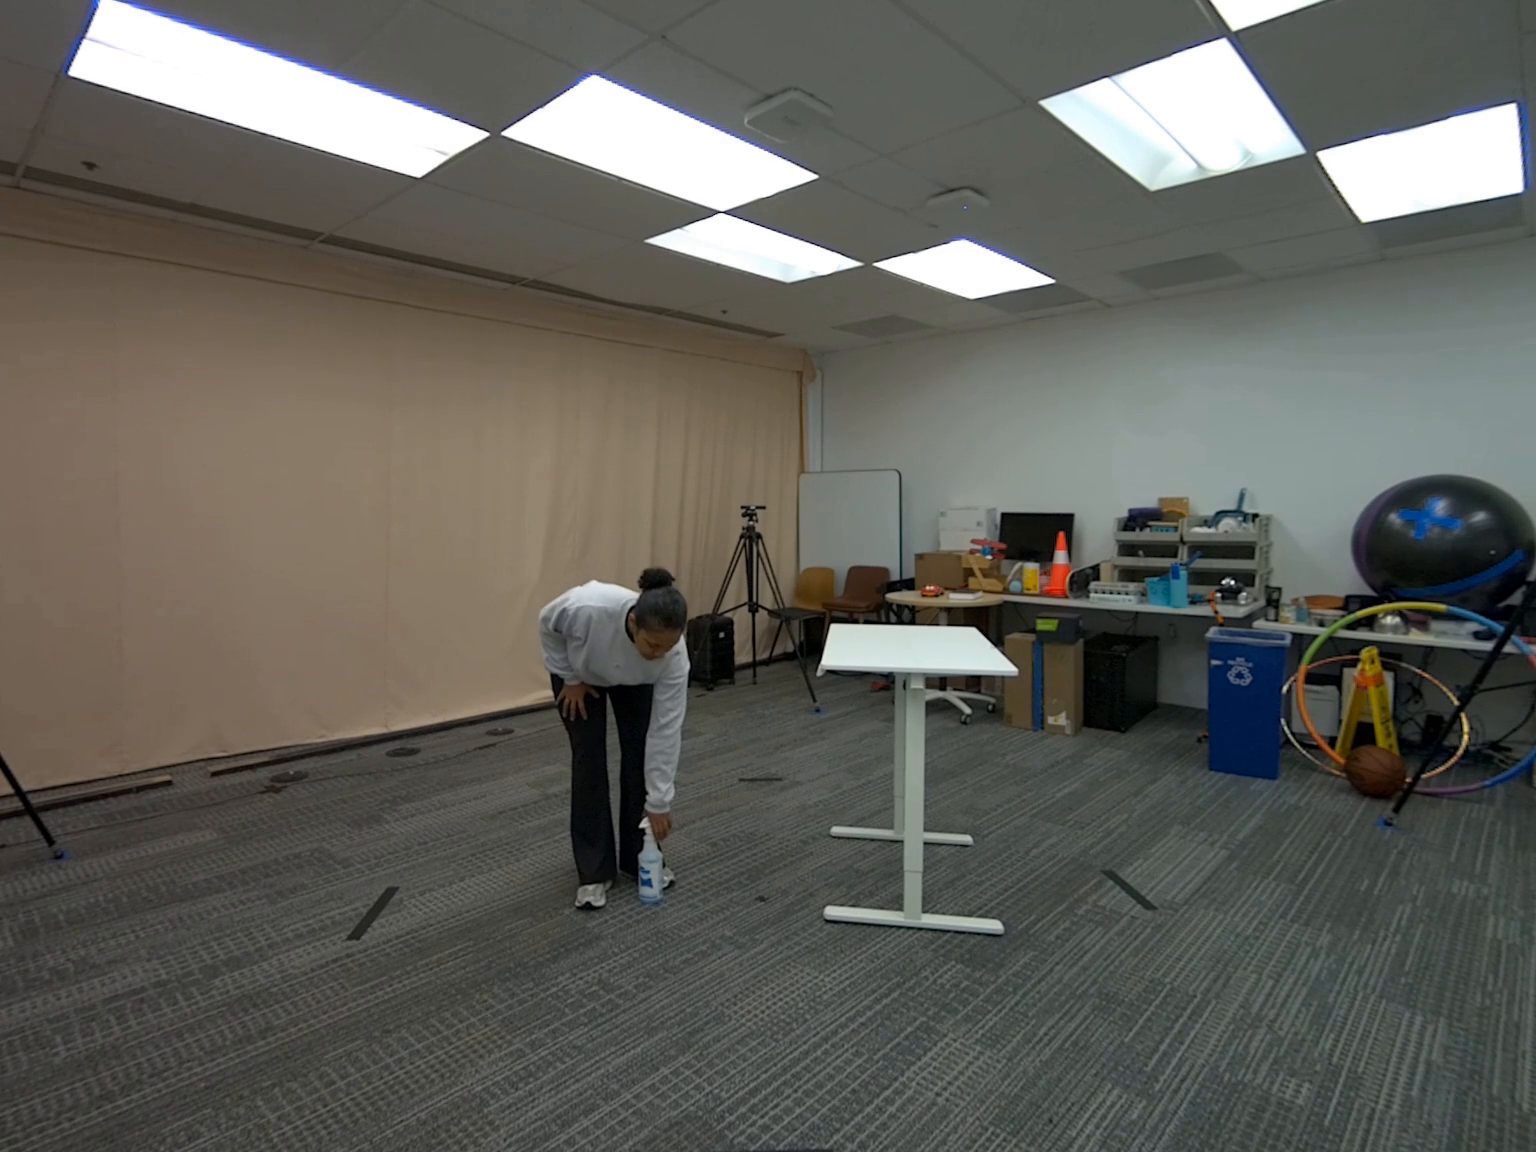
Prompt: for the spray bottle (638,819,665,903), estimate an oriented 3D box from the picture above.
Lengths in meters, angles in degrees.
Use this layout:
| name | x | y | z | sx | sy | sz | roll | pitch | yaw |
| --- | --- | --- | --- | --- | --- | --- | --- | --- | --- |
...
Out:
| name | x | y | z | sx | sy | sz | roll | pitch | yaw |
| --- | --- | --- | --- | --- | --- | --- | --- | --- | --- |
| spray bottle | -0.416 | 1.002 | 2.983 | 0.090 | 0.297 | 0.087 | 0 | 1 | -2 |
